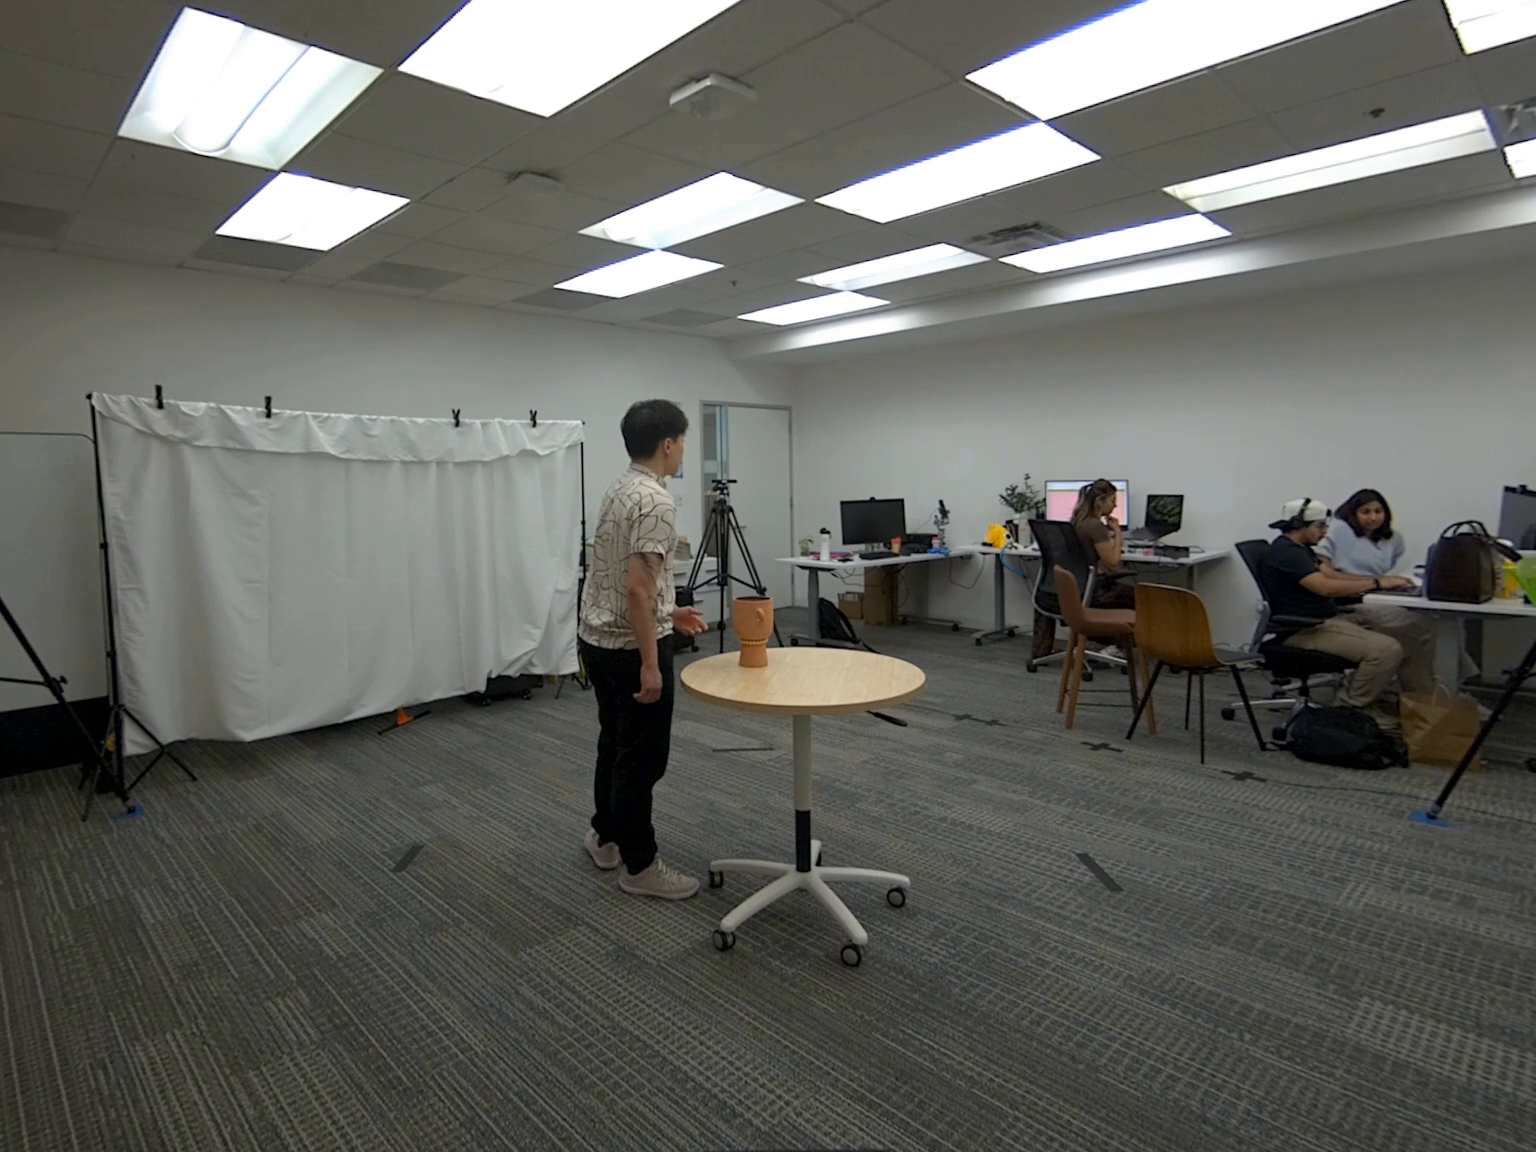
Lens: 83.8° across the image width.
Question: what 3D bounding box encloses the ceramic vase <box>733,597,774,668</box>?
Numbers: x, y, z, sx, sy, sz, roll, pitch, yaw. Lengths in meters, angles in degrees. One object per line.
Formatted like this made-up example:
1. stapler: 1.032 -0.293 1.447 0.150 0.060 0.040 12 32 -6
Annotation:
1. ceramic vase: -0.053 0.184 2.818 0.137 0.219 0.156 1 5 19
